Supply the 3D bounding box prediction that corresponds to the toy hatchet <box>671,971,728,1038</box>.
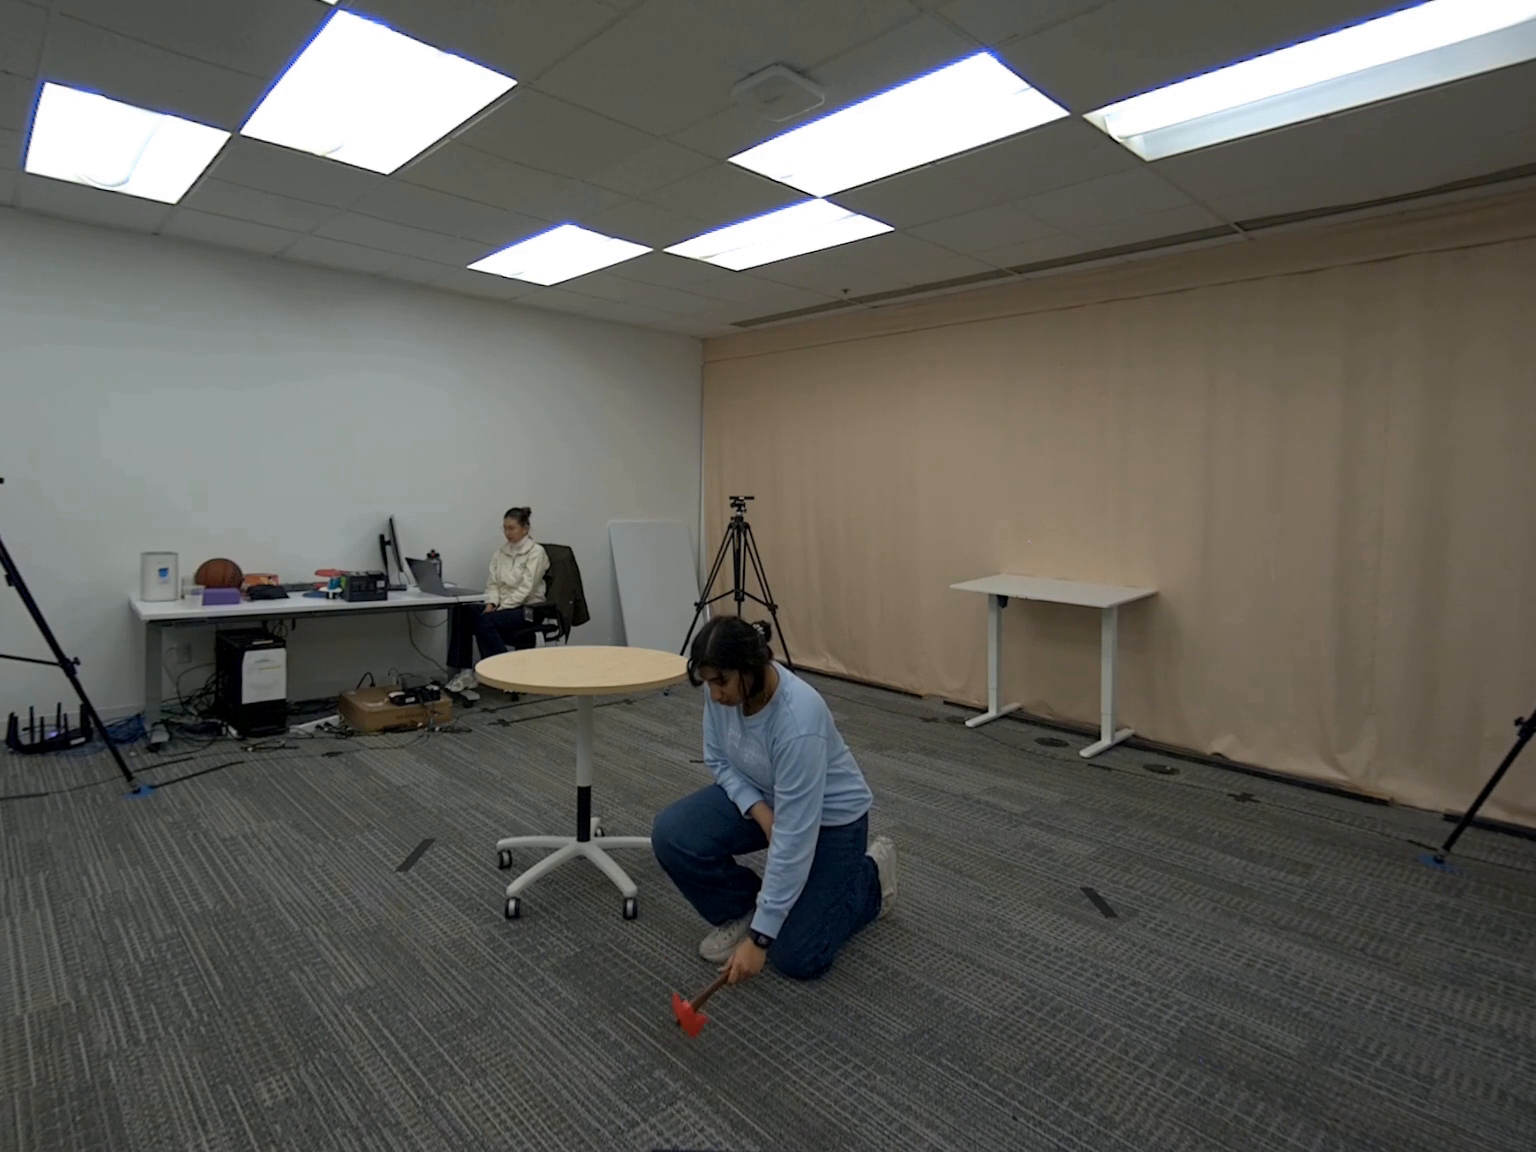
[{"bbox_3d":[-0.145,1.084,2.144,0.265,0.131,0.030,-8,1,-32],"label":"toy hatchet"}]
